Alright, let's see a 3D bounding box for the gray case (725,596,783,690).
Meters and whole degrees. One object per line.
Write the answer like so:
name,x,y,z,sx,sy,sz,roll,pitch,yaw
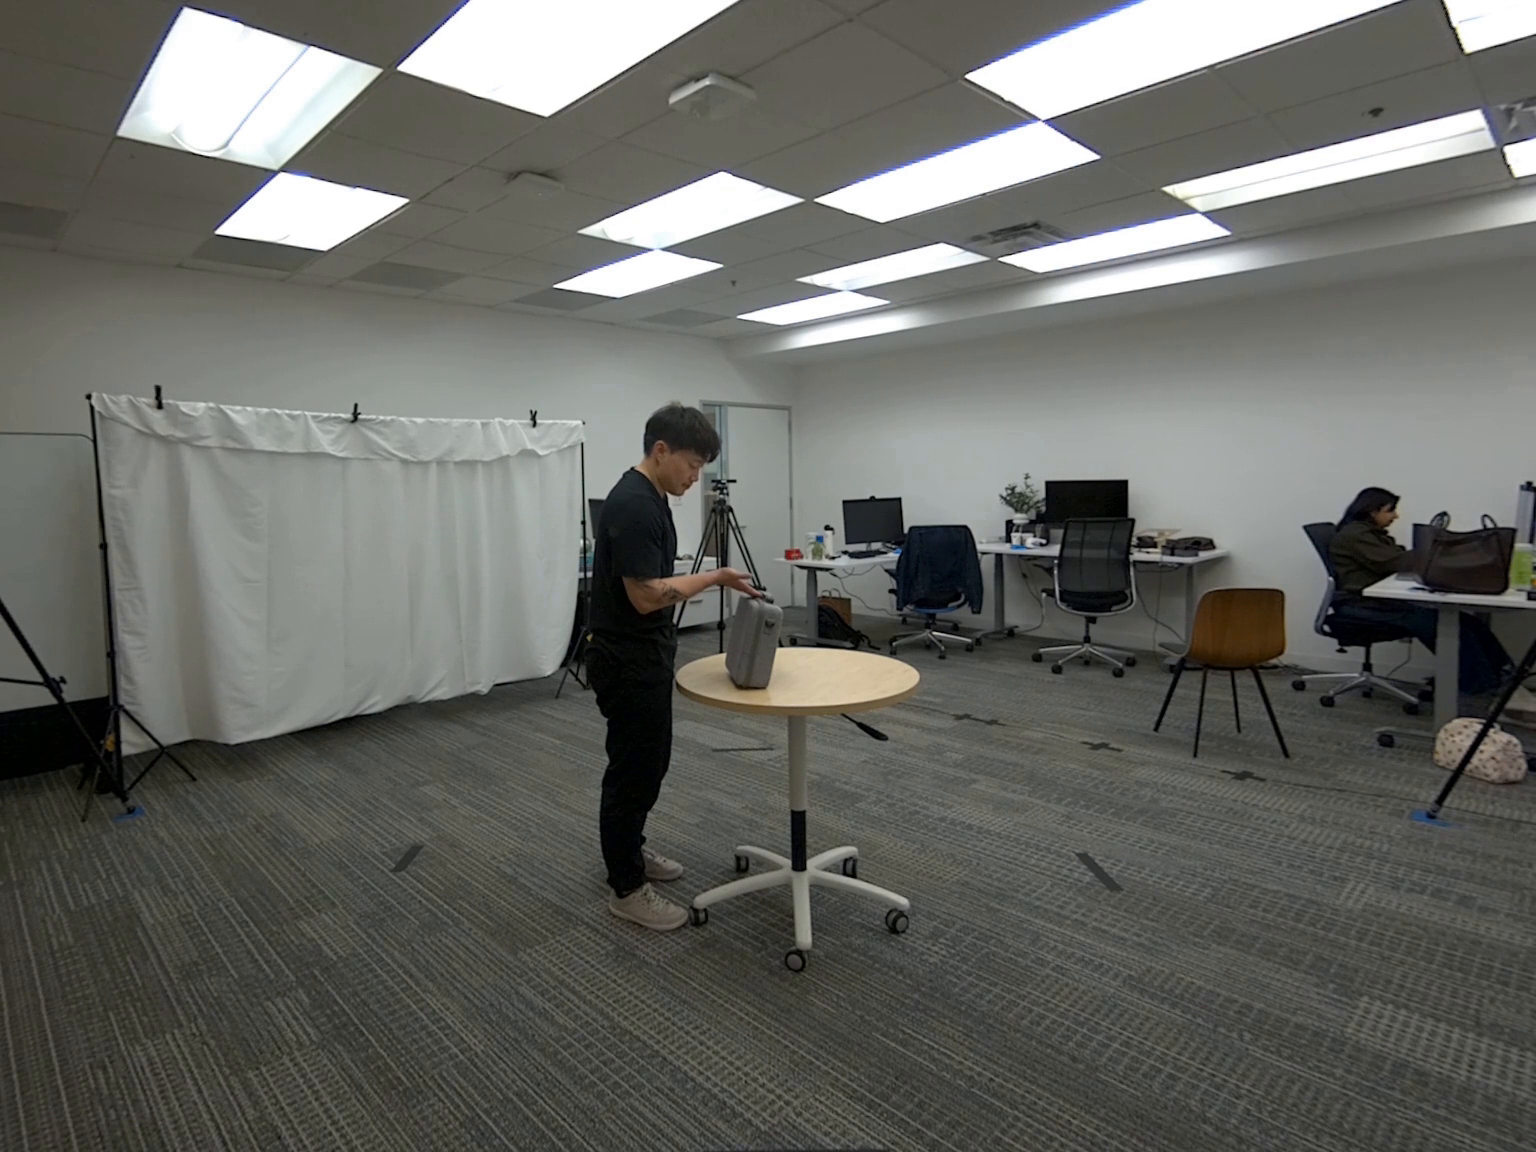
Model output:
gray case,-0.045,0.191,2.618,0.103,0.260,0.260,10,4,-11
